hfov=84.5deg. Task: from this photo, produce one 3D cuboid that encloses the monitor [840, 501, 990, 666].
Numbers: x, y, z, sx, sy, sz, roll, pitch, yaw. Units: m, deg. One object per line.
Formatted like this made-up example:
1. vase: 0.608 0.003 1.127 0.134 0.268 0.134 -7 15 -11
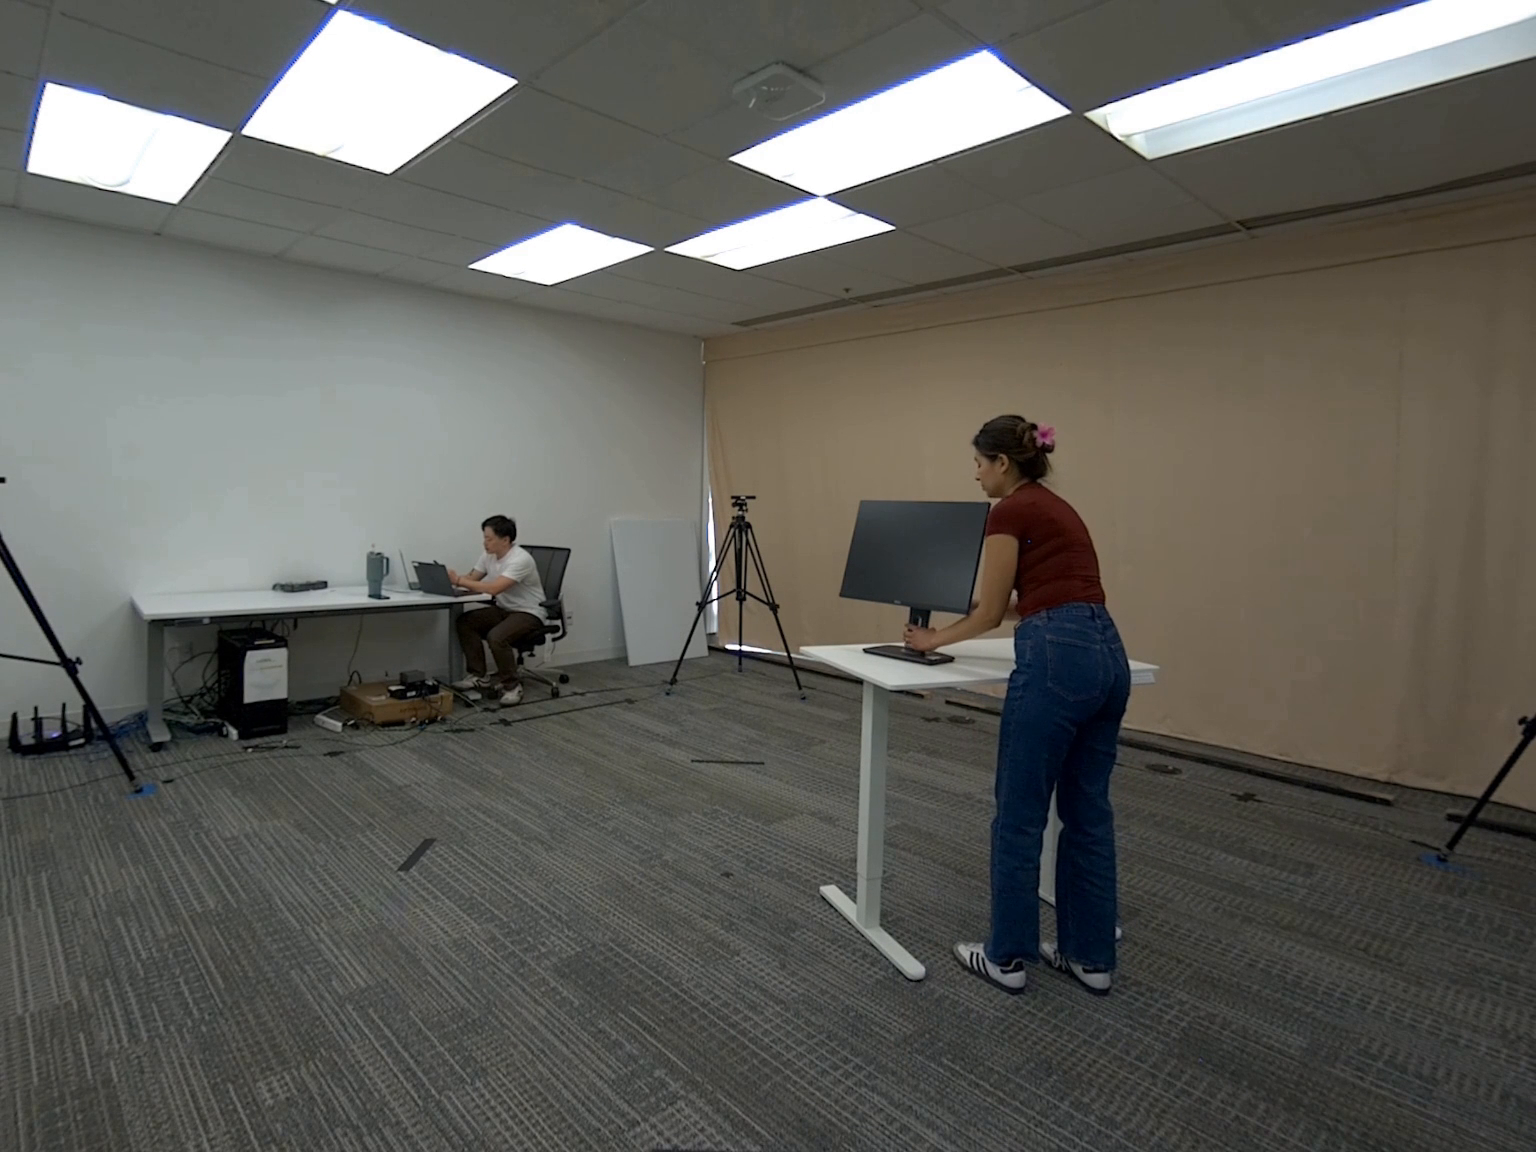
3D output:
1. monitor: 0.478 0.015 2.772 0.182 0.522 0.553 4 2 -41
